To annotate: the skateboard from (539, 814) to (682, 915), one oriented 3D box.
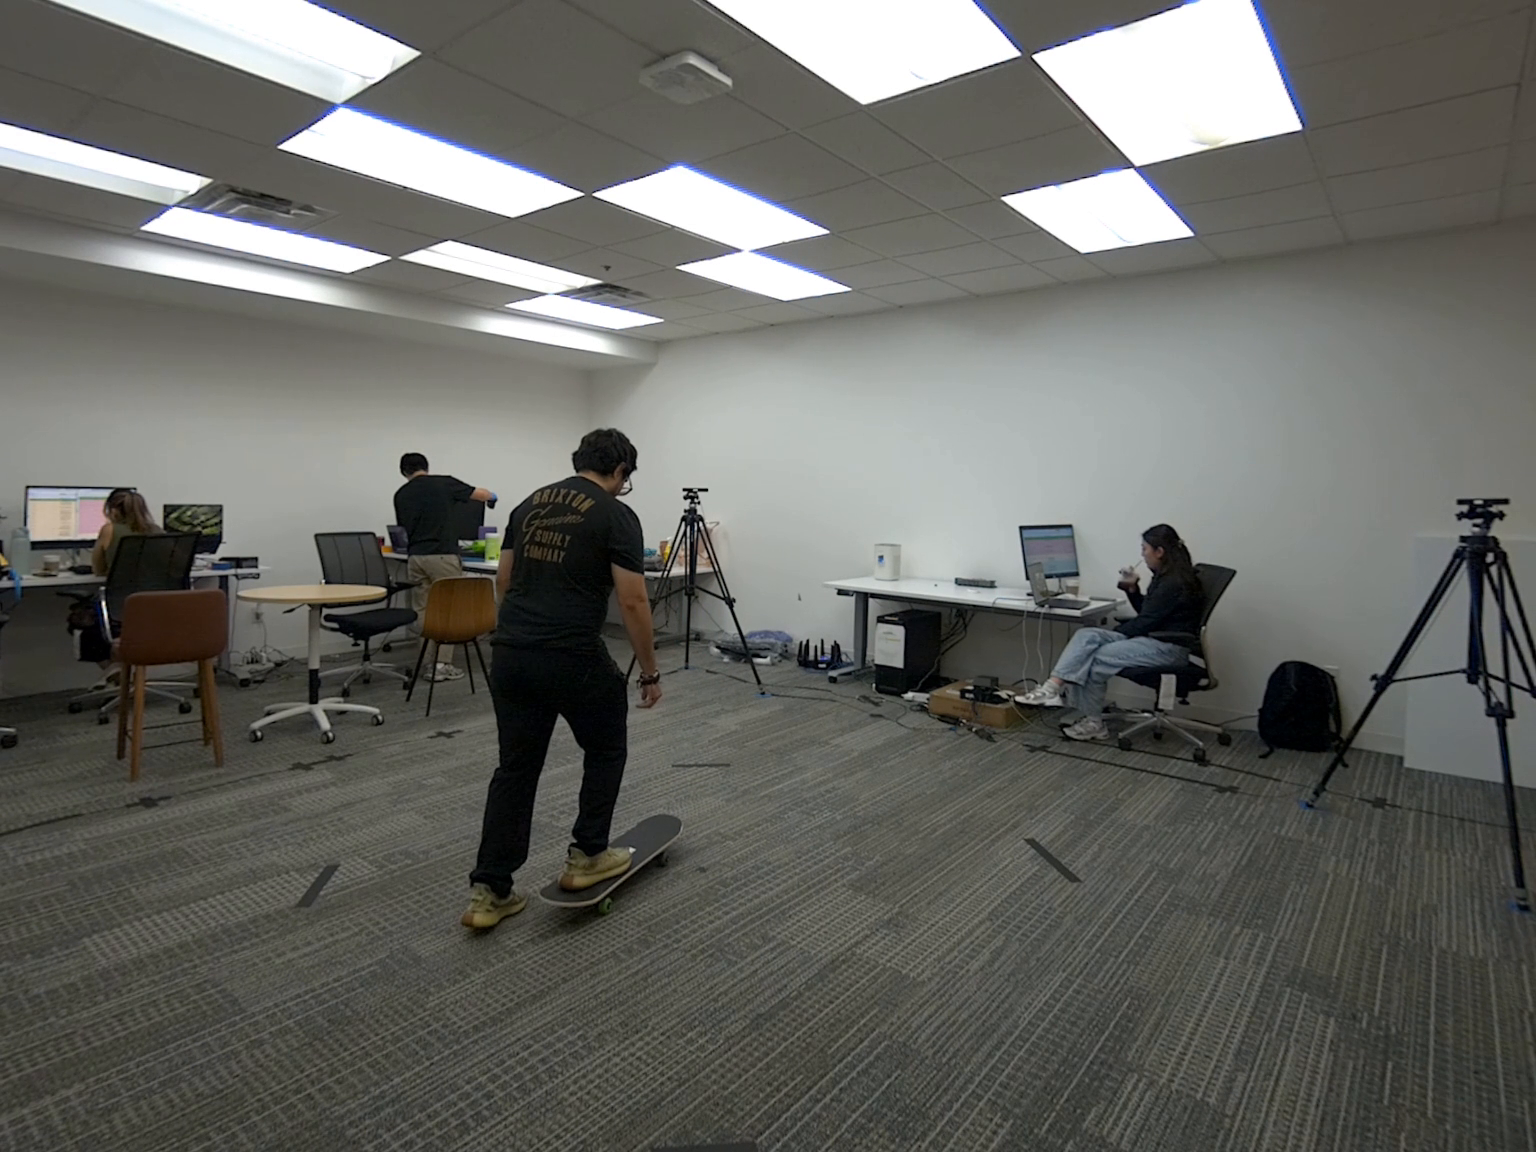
[{"bbox_3d":[-0.540,1.027,2.987,0.198,0.110,0.770,2,6,21],"label":"skateboard"}]
